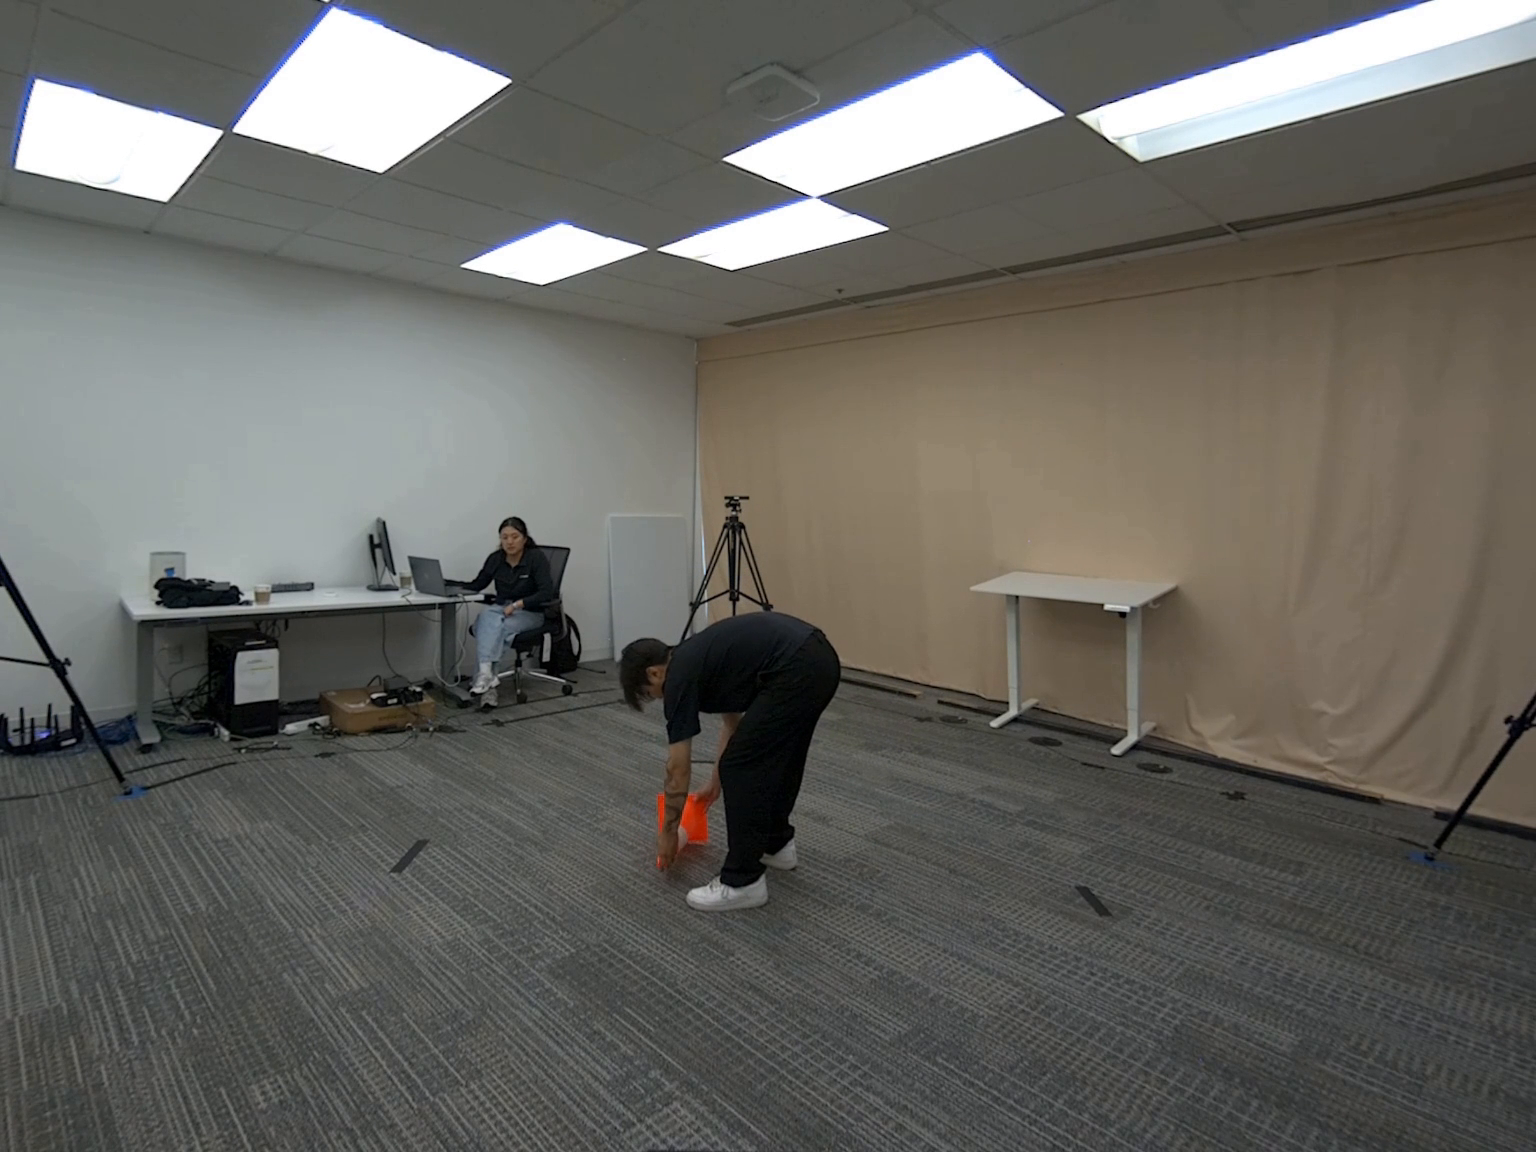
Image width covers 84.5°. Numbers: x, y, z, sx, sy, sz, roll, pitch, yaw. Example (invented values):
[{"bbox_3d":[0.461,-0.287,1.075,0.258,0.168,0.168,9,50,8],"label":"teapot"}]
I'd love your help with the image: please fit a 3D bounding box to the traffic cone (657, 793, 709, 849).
[{"bbox_3d":[-0.373,1.001,3.193,0.204,0.204,0.384,-3,7,5],"label":"traffic cone"}]
